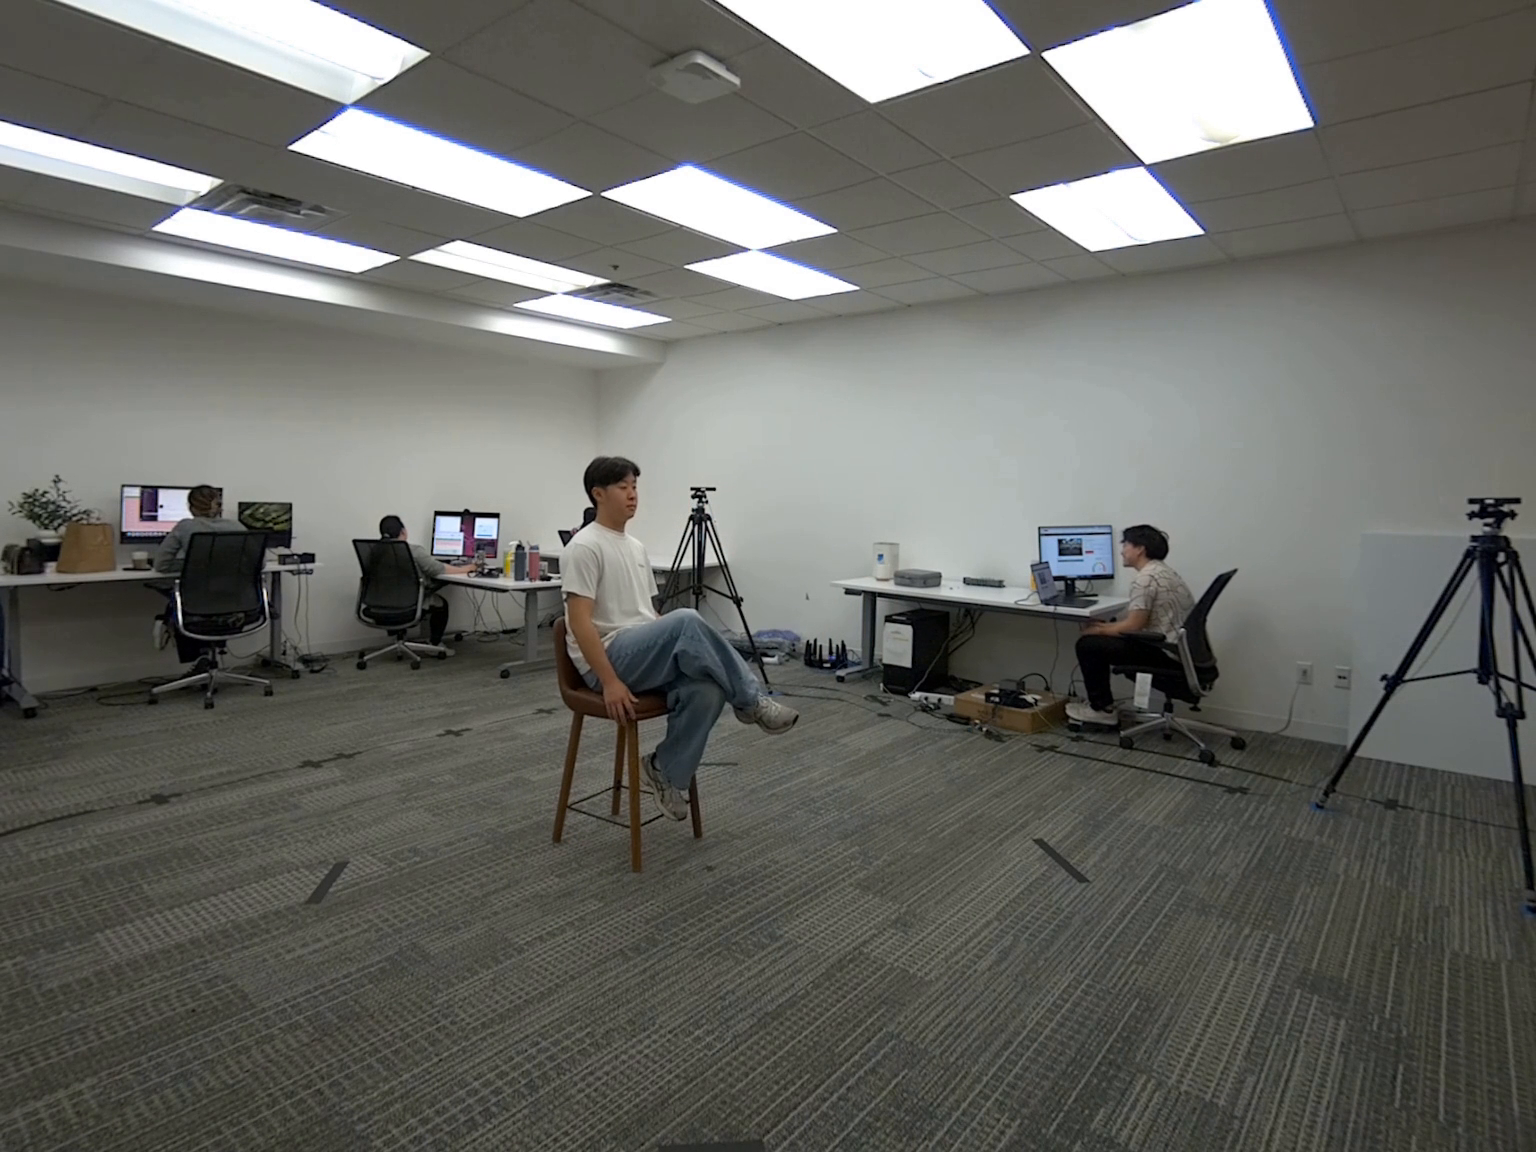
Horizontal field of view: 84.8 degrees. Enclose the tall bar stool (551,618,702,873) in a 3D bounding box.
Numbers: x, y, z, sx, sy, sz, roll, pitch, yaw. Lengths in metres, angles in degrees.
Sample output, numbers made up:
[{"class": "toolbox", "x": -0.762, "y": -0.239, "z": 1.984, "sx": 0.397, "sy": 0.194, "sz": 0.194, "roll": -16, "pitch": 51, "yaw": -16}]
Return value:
[{"class": "tall bar stool", "x": -0.570, "y": 0.603, "z": 3.340, "sx": 0.481, "sy": 0.889, "sz": 0.443, "roll": 0, "pitch": 1, "yaw": 33}]
